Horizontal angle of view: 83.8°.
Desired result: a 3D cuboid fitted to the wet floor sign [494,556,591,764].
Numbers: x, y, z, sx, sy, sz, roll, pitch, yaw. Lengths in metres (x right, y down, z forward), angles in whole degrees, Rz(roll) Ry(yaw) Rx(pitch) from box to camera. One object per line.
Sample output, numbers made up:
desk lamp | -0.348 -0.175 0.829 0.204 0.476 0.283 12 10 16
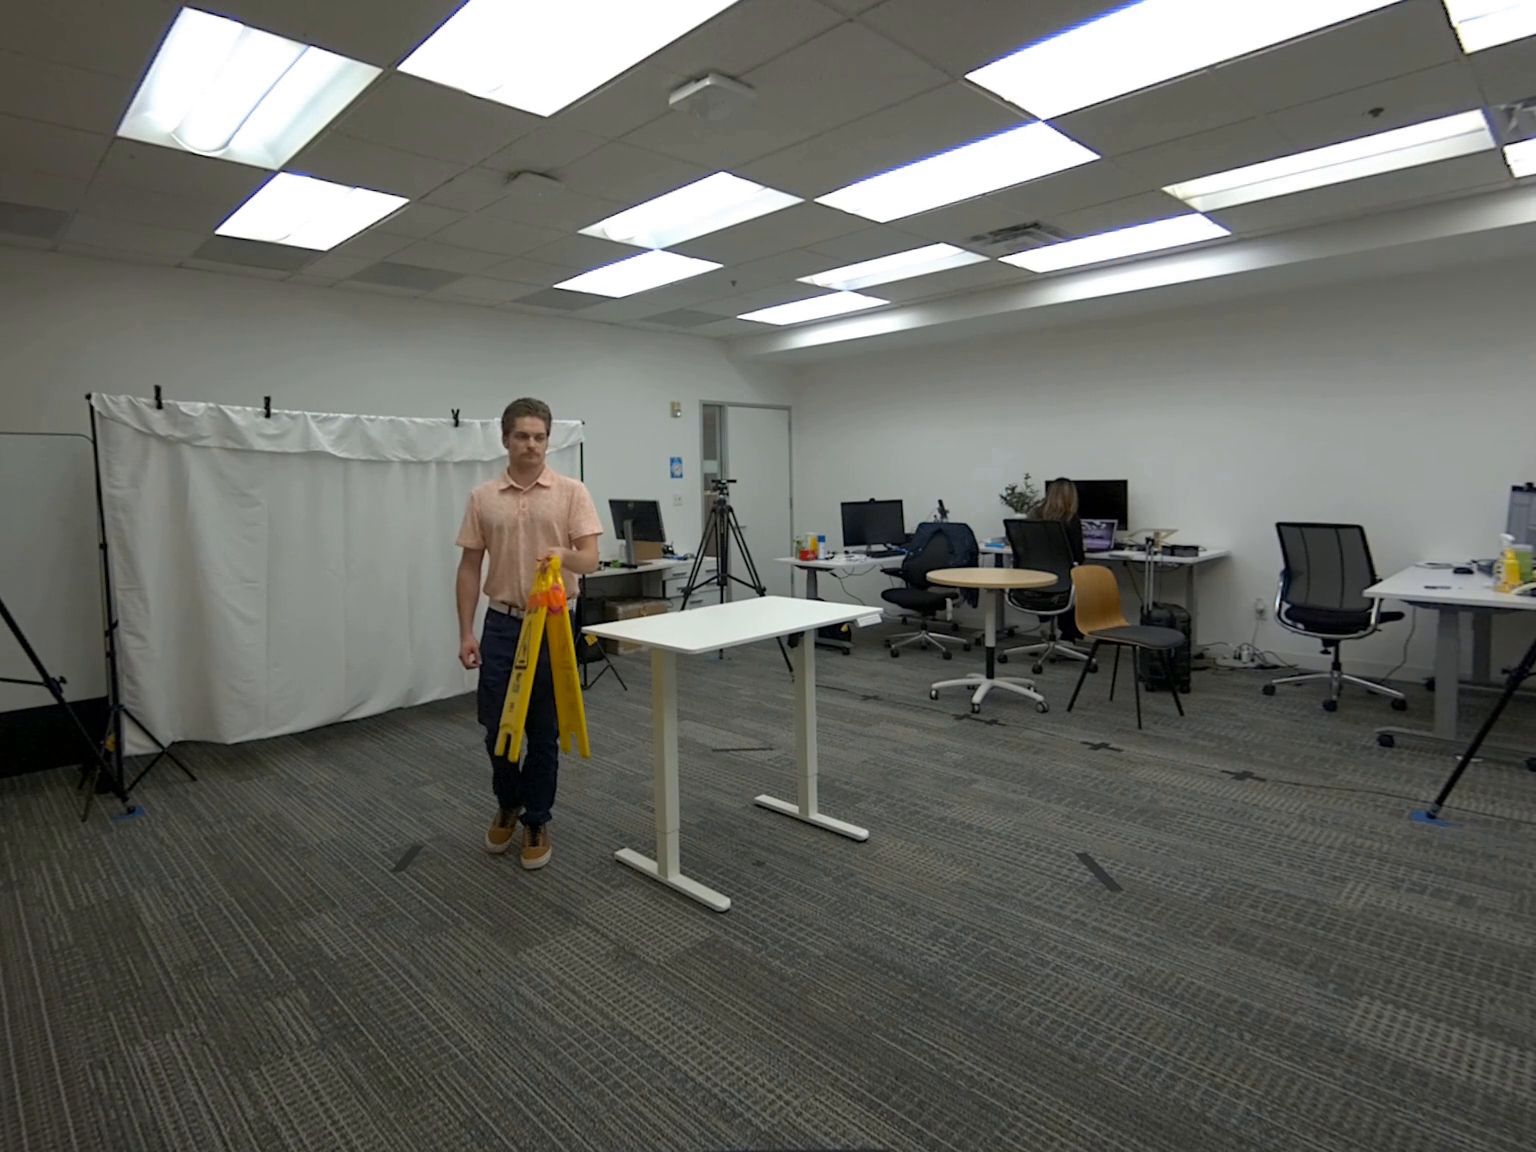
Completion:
wet floor sign | -0.742 0.261 2.824 0.282 0.651 0.287 4 -9 -28
